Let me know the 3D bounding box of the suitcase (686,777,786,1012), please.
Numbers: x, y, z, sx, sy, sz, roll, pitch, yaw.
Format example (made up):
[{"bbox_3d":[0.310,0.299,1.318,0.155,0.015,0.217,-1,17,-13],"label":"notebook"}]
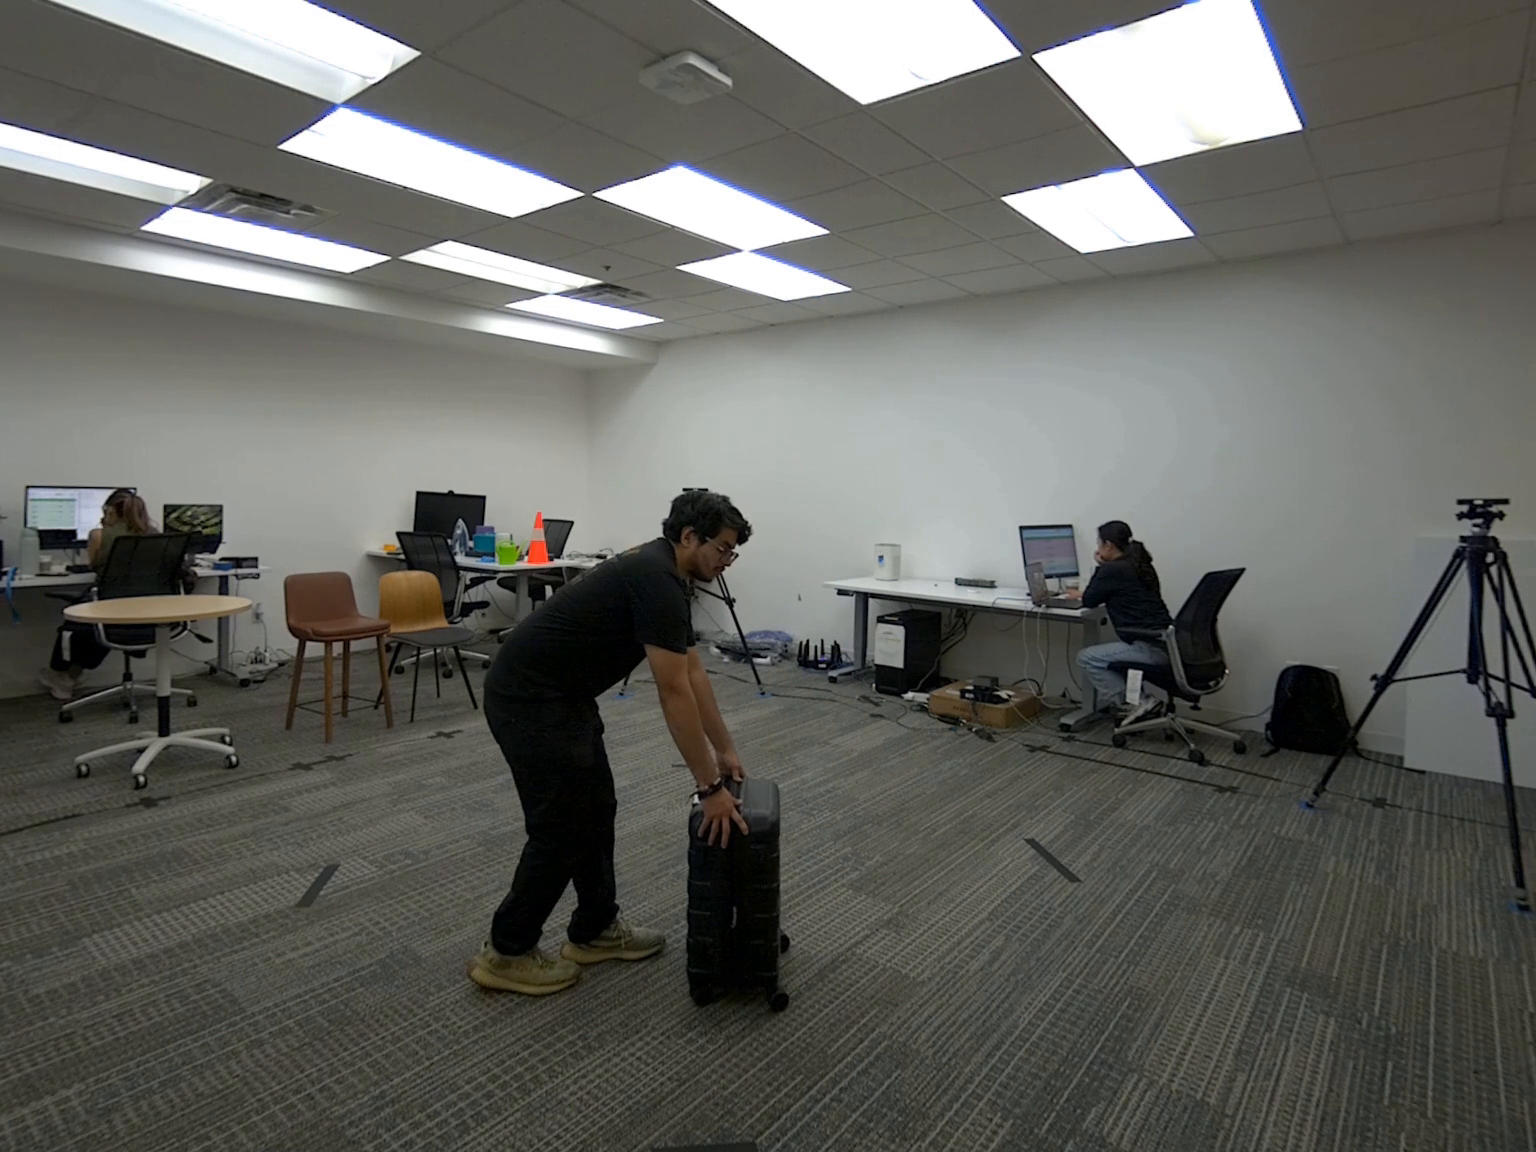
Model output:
[{"bbox_3d":[-0.101,0.870,2.410,0.249,0.547,0.376,0,4,1],"label":"suitcase"}]
